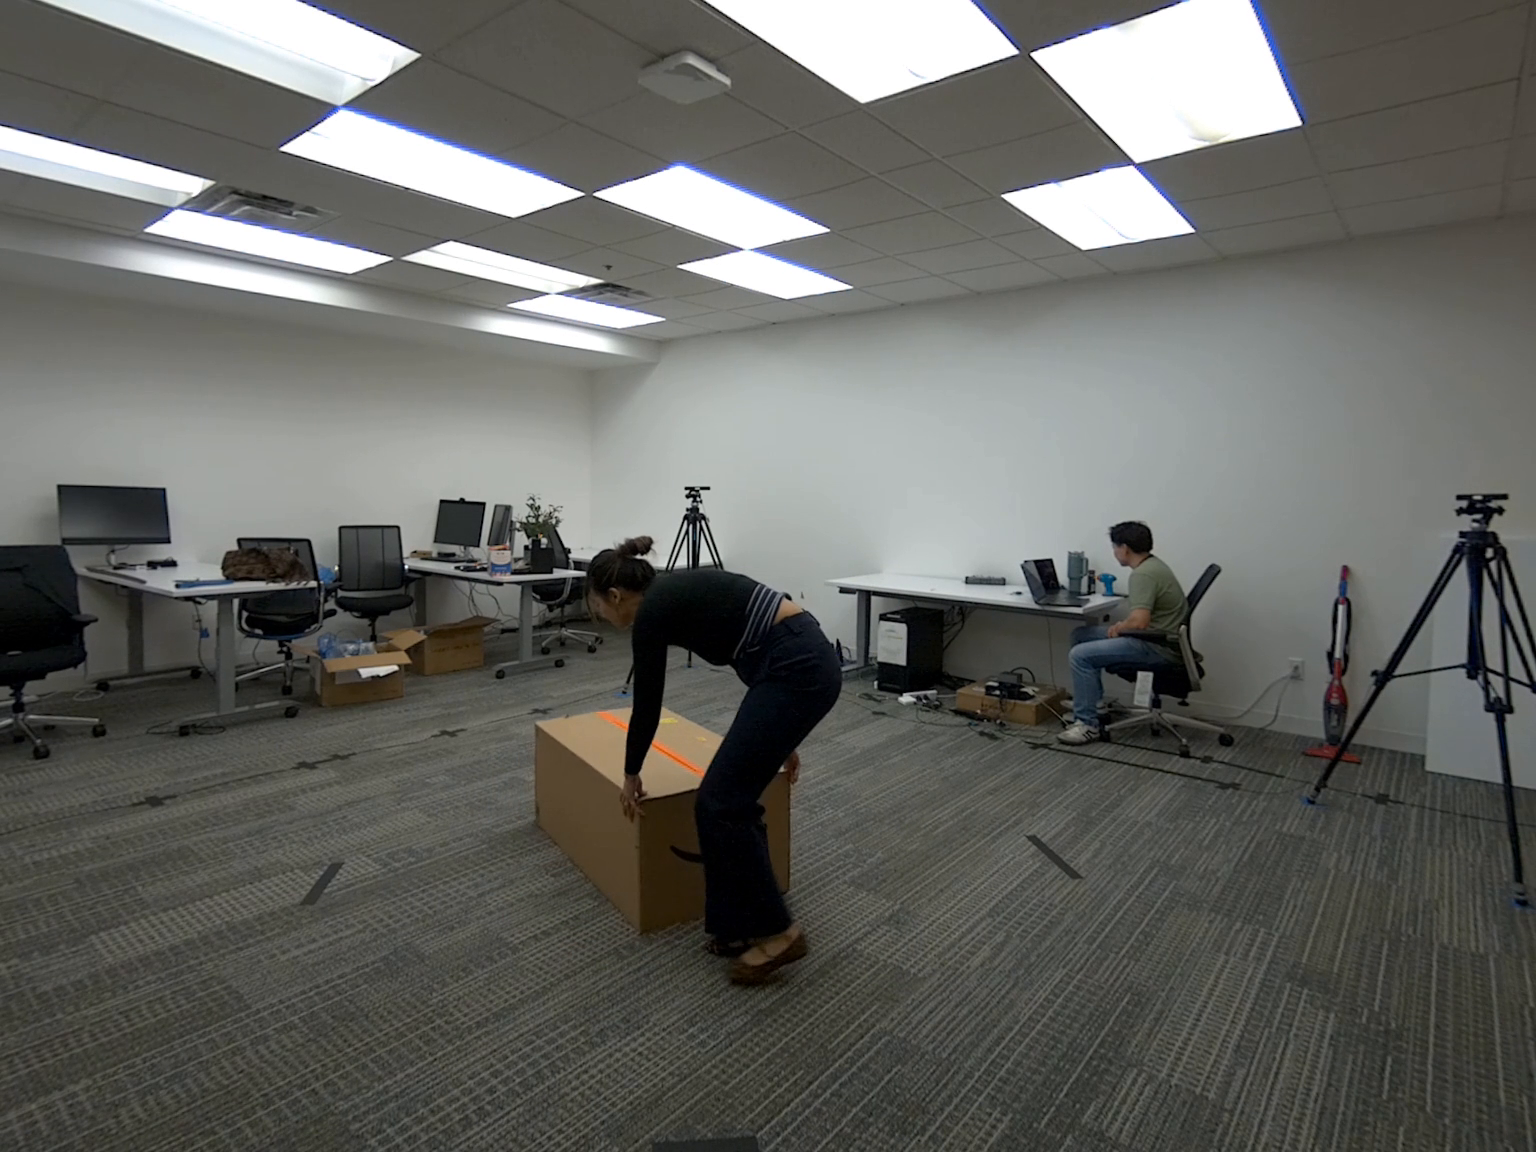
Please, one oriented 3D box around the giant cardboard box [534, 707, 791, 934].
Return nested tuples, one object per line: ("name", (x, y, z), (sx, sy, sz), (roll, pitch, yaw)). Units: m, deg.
("giant cardboard box", (-0.453, 0.835, 3.205), (0.561, 0.424, 1.059), (-2, 6, -33))
